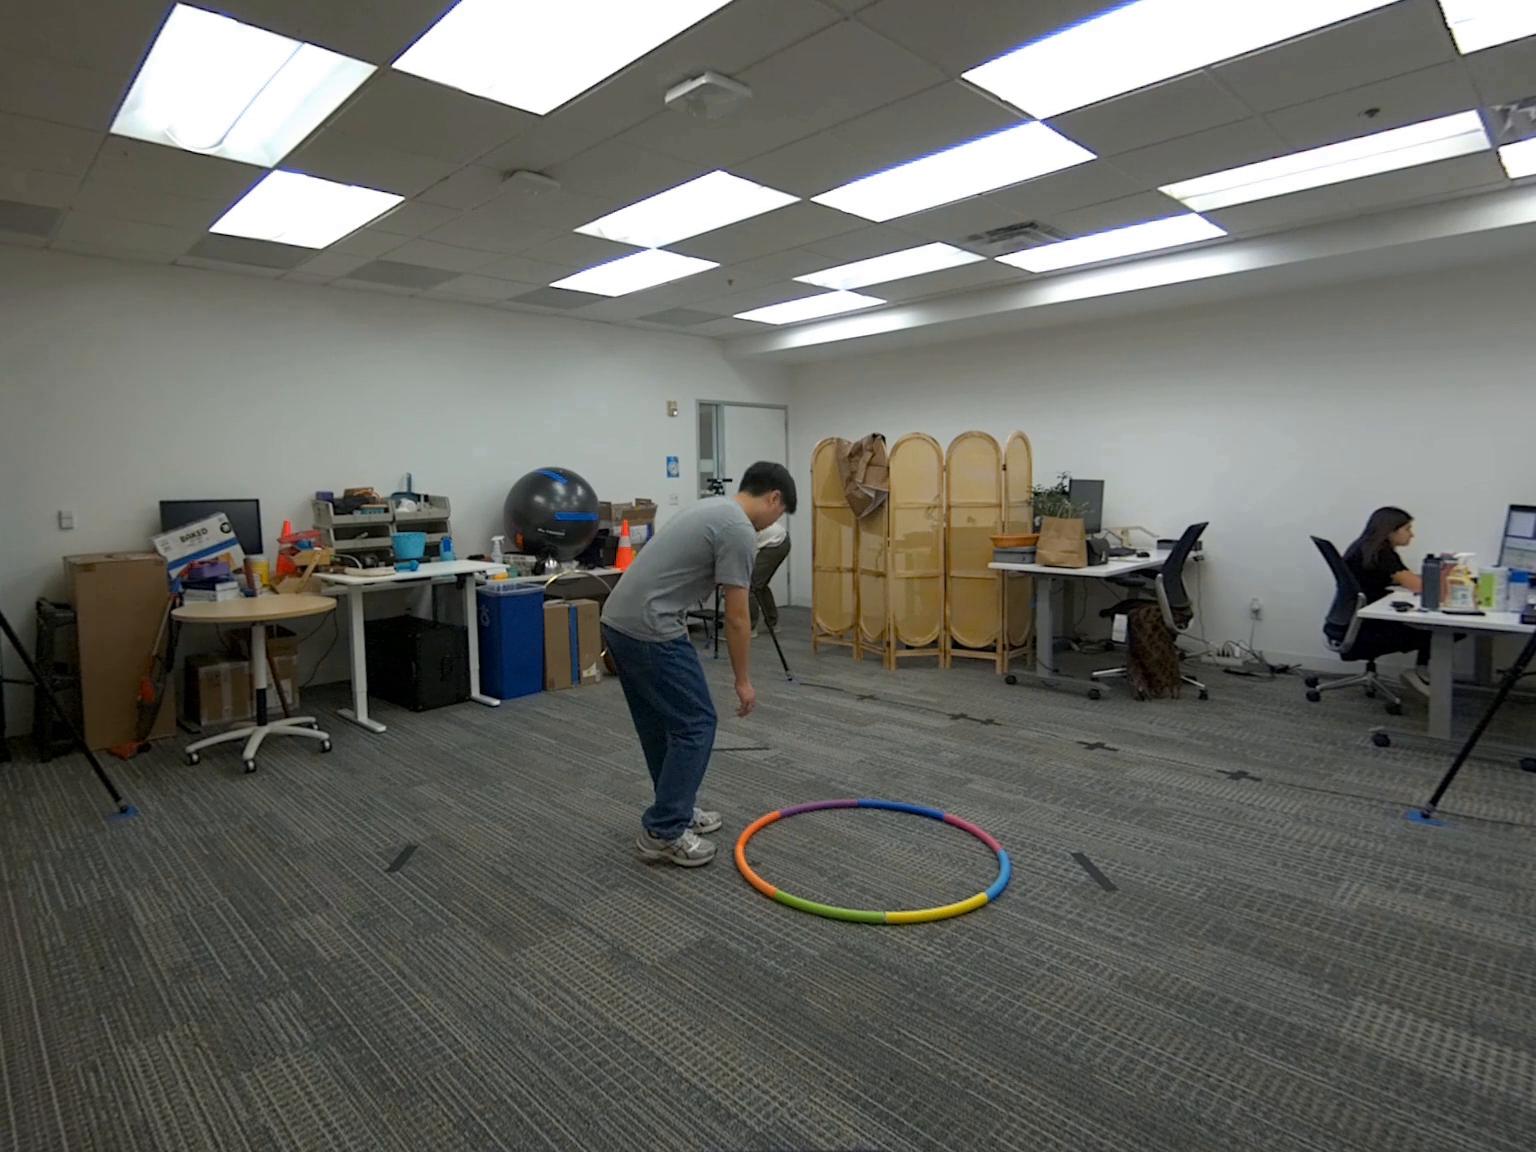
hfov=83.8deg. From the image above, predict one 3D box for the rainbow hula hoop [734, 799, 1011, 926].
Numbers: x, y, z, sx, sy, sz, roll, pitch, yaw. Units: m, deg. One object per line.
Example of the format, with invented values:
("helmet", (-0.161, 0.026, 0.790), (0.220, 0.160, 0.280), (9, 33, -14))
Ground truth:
("rainbow hula hoop", (0.366, 1.002, 3.147), (0.978, 0.035, 0.984), (-2, 6, -2))
